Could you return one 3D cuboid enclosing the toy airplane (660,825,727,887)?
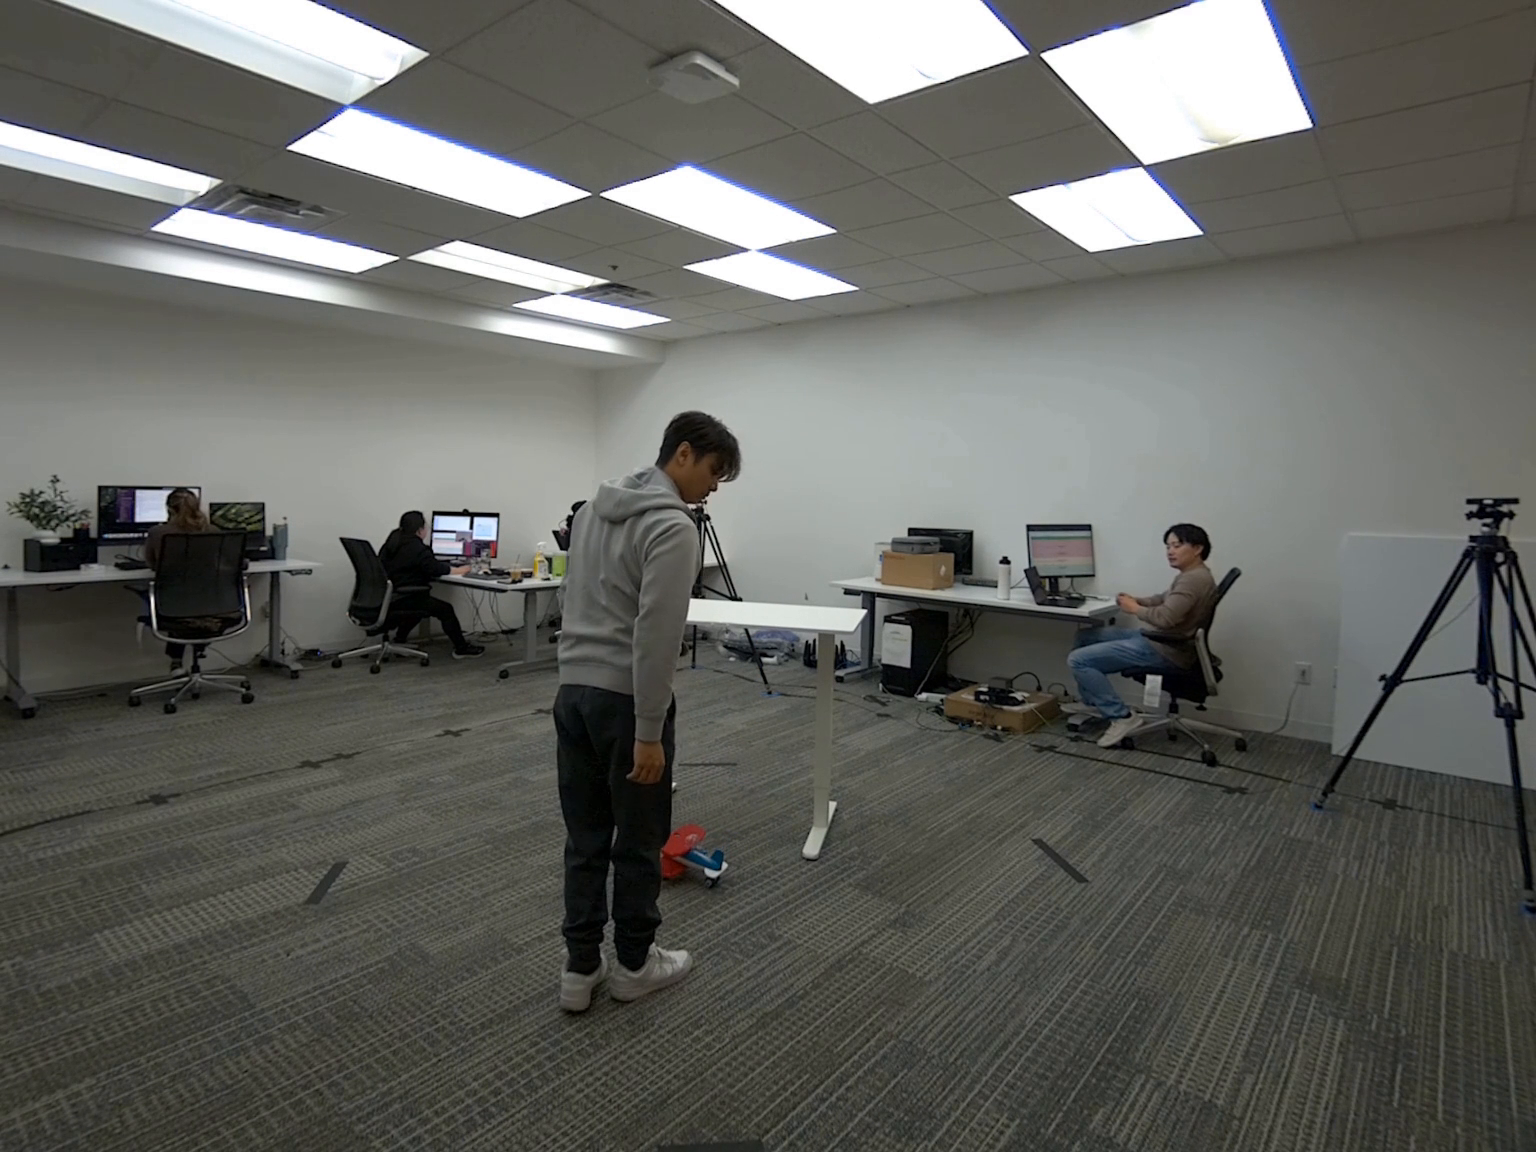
[{"bbox_3d":[-0.279,0.996,3.038,0.258,0.156,0.253,-1,4,-4],"label":"toy airplane"}]
